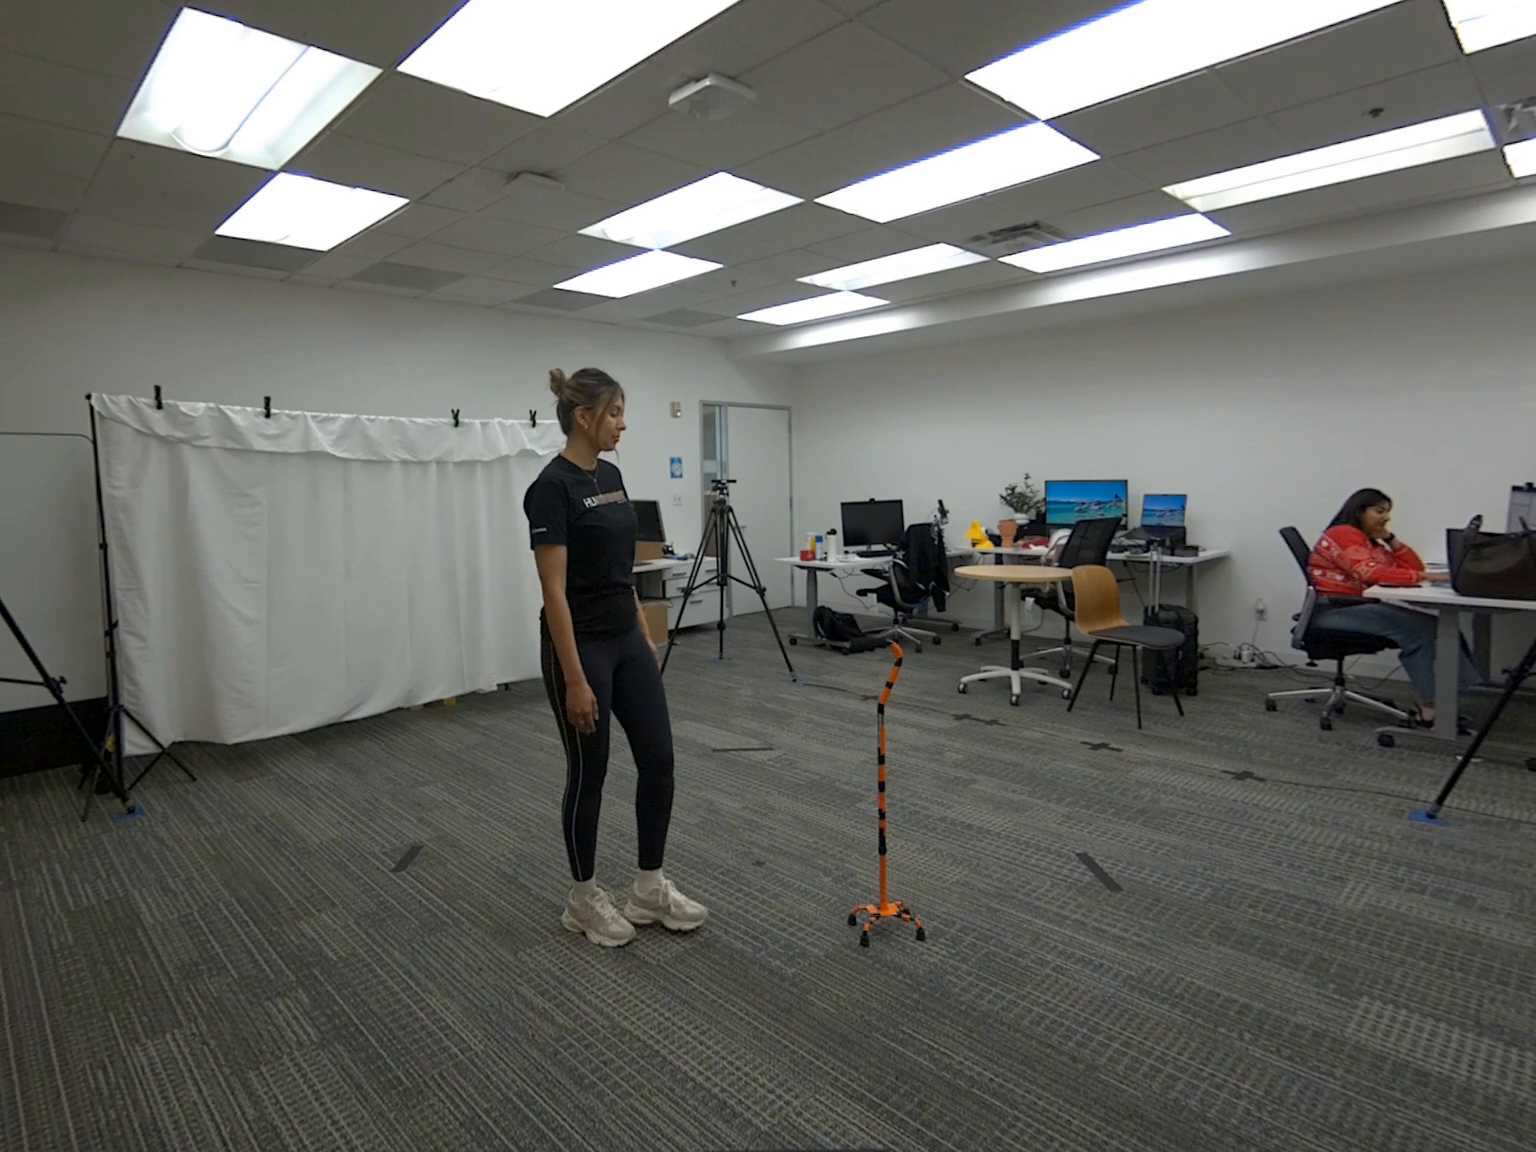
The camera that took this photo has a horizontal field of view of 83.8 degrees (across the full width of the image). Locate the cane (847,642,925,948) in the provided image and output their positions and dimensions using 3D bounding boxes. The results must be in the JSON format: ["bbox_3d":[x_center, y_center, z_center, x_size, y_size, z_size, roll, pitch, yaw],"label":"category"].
[{"bbox_3d":[0.362,0.647,2.602,0.204,0.905,0.153,-1,3,-10],"label":"cane"}]
